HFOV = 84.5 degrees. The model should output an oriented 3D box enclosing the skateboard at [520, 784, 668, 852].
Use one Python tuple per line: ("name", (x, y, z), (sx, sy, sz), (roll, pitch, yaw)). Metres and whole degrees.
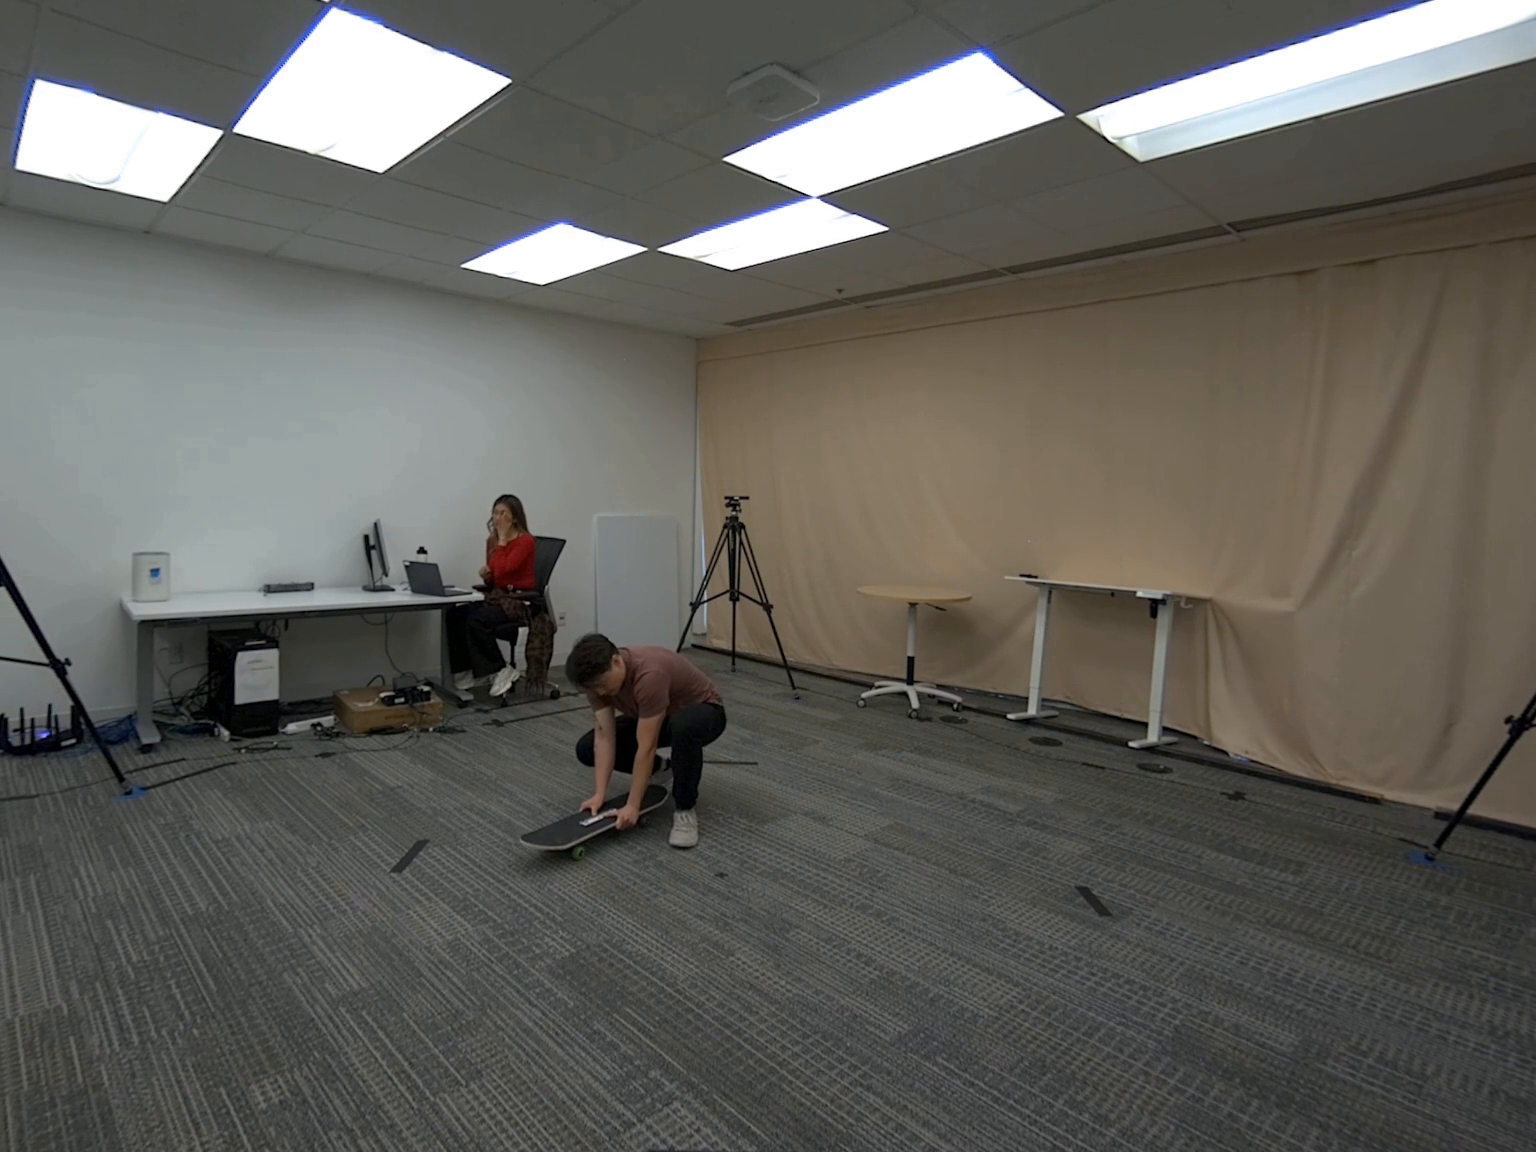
("skateboard", (-0.697, 1.007, 3.409), (0.198, 0.110, 0.770), (6, 6, 30))
